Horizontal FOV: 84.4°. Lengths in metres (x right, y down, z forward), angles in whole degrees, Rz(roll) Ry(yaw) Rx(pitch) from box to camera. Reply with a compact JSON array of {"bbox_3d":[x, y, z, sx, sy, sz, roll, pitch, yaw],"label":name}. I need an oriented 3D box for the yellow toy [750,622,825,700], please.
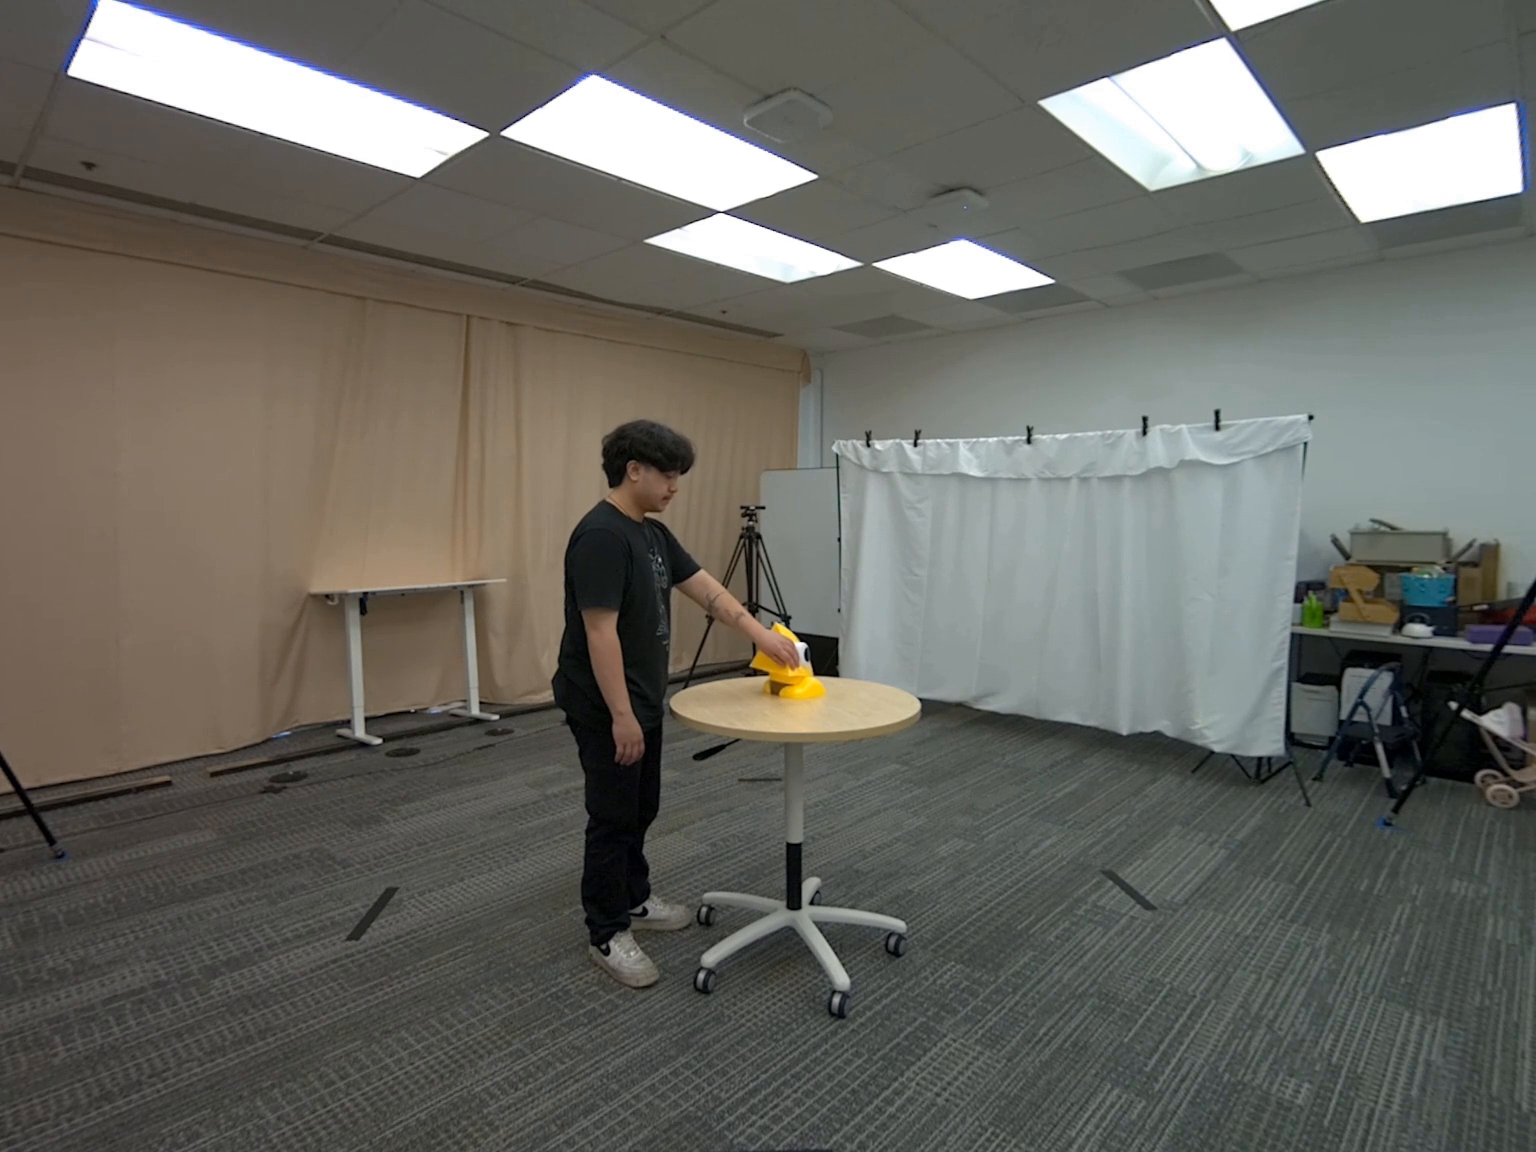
[{"bbox_3d":[0.075,0.263,2.696,0.187,0.230,0.211,-2,3,-36],"label":"yellow toy"}]
